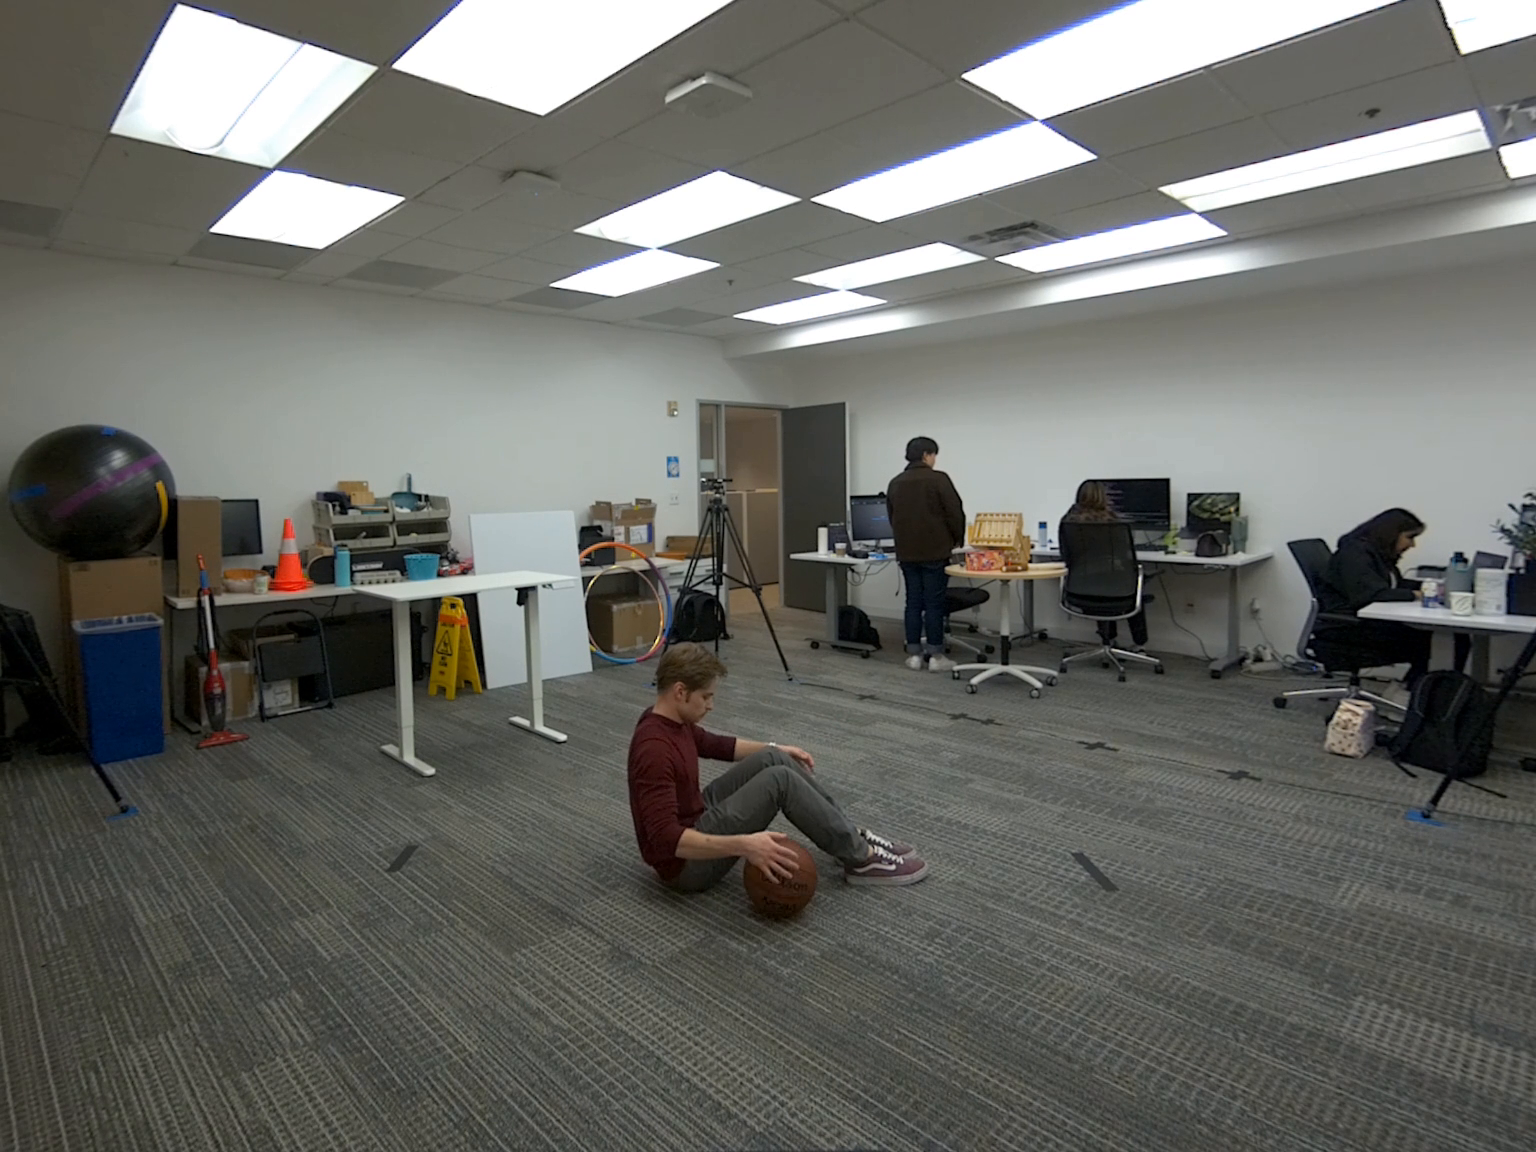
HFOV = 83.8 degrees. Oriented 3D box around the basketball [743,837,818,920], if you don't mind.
[{"bbox_3d":[0.034,0.962,2.745,0.236,0.235,0.237,-1,5,-2],"label":"basketball"}]
